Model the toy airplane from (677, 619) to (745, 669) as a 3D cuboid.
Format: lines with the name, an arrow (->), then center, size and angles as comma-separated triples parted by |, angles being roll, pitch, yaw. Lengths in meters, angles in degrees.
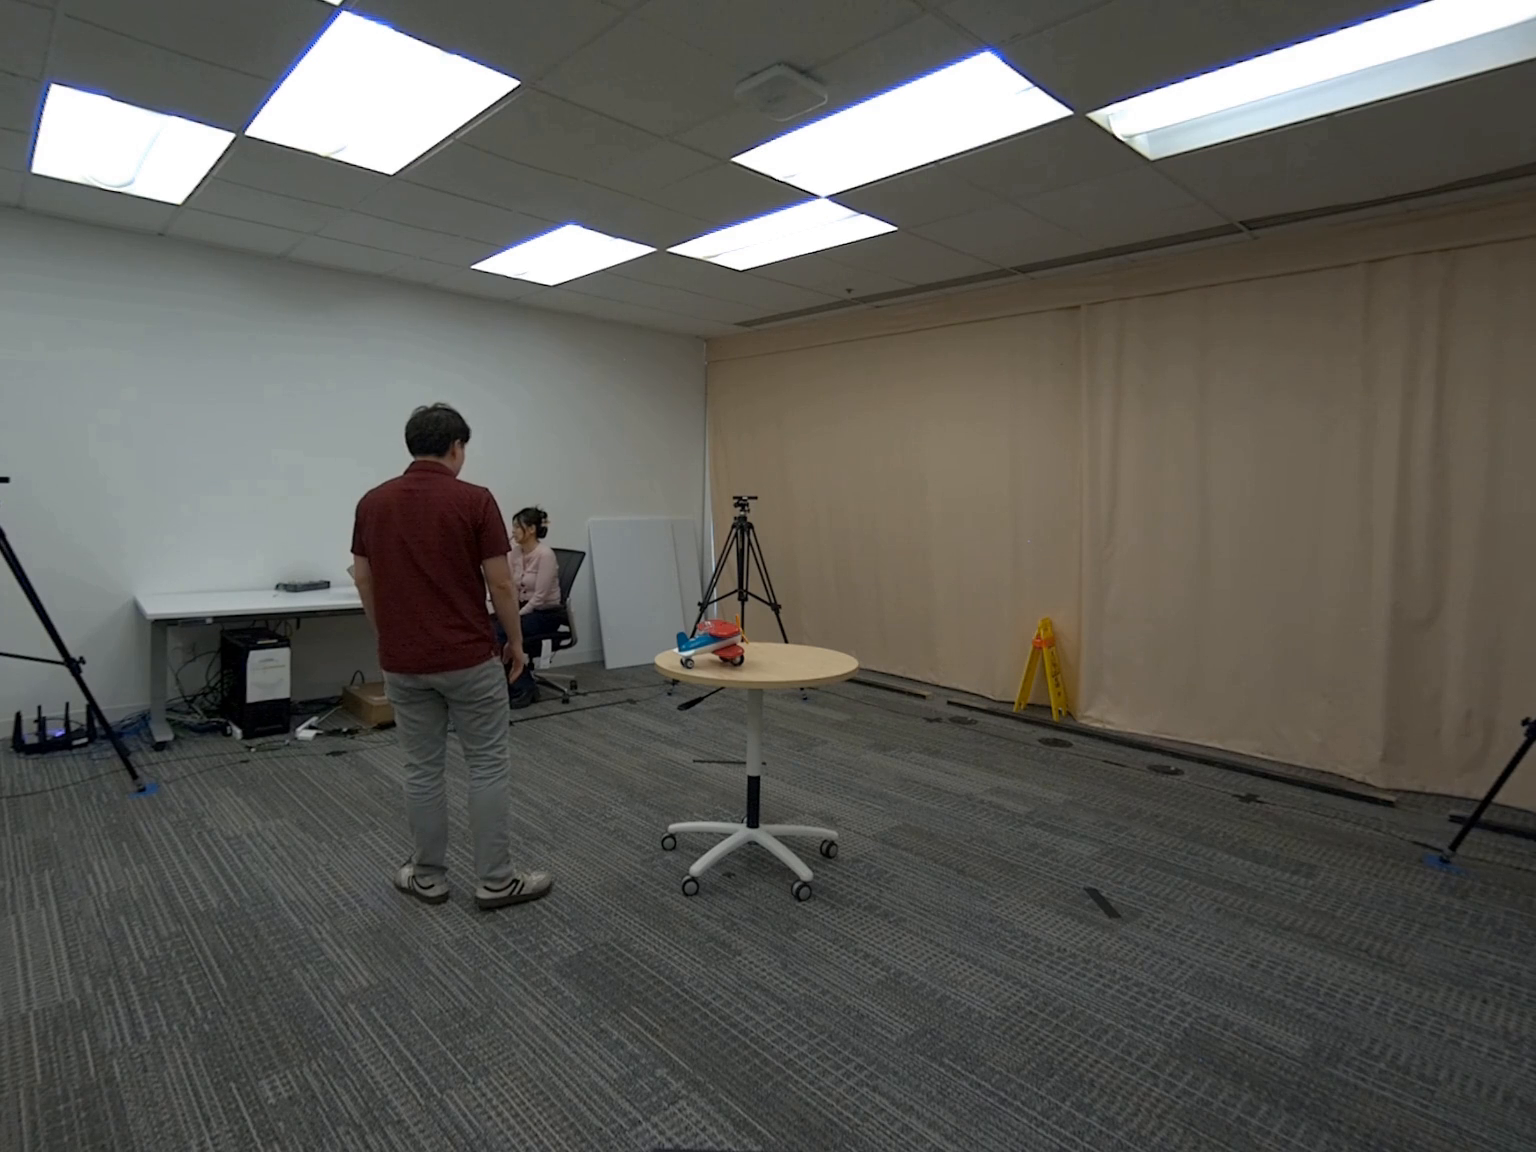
toy airplane -> -0.205, 0.250, 3.021 | 0.257, 0.156, 0.254 | 3, 4, 34
